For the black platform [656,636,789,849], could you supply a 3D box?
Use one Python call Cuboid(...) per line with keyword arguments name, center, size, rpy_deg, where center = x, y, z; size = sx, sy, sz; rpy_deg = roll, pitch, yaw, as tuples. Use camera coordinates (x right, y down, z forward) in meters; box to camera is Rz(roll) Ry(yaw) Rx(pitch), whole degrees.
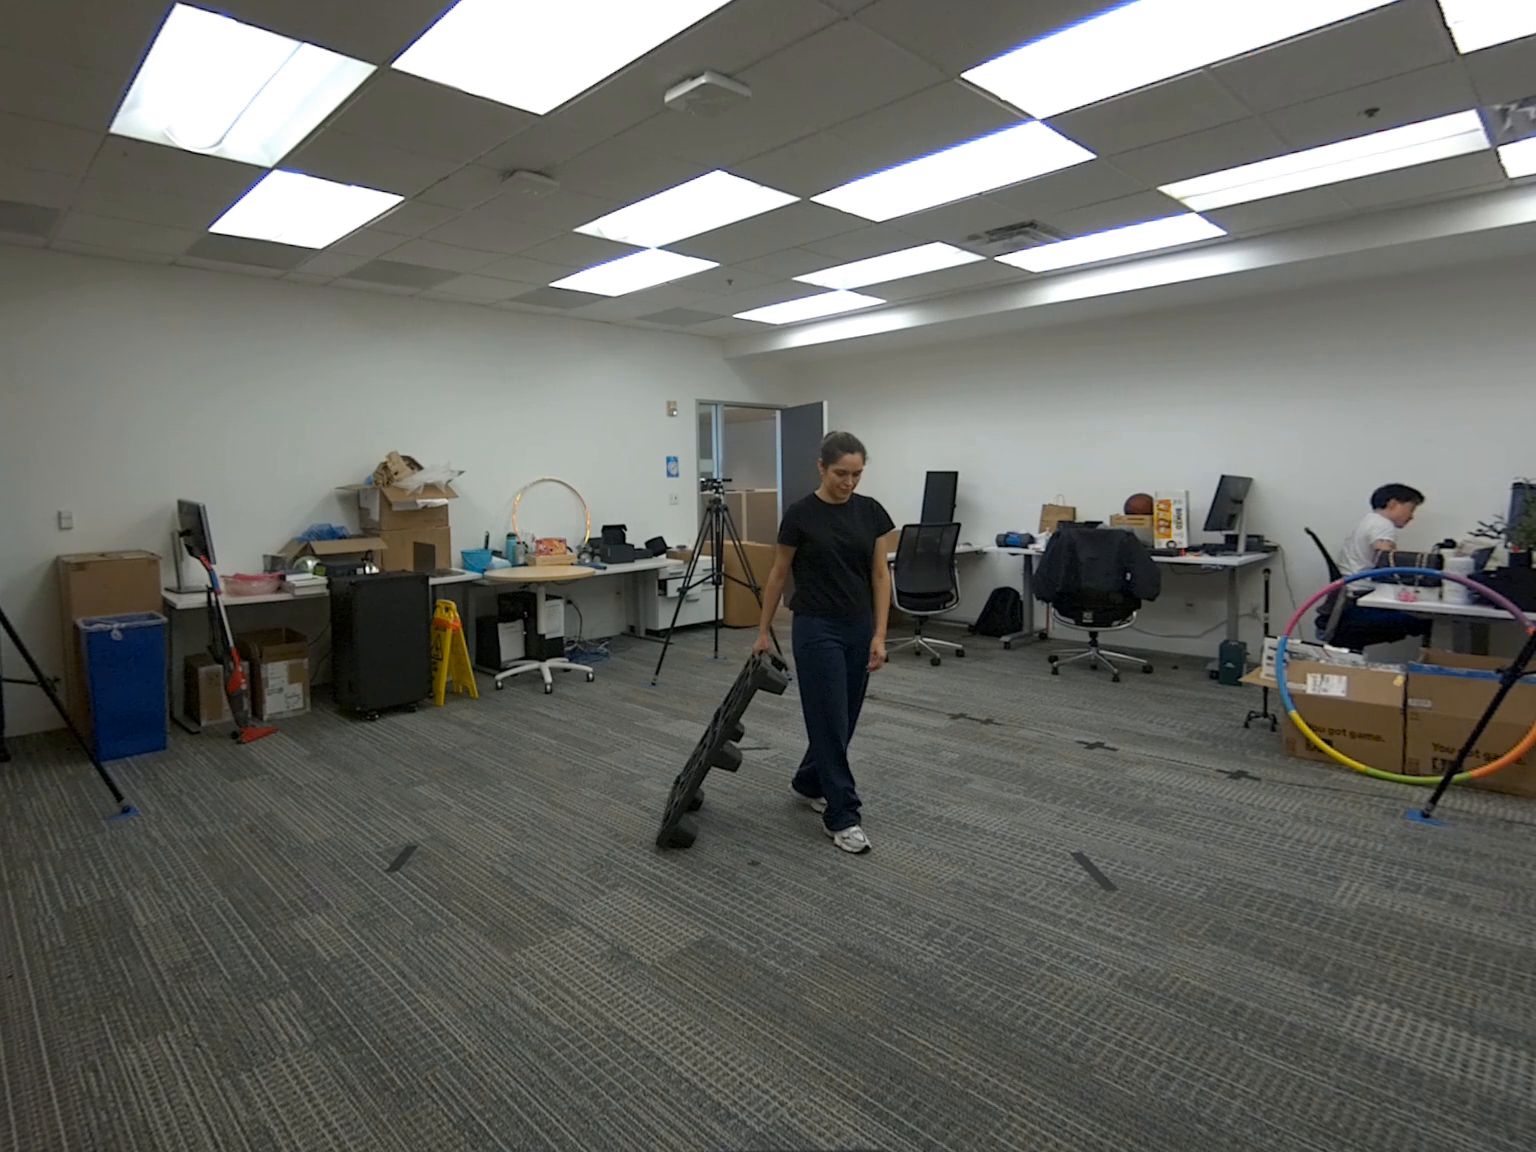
Cuboid(name="black platform", center=(-0.171, 0.656, 3.446), size=(0.143, 0.804, 0.606), rpy_deg=(29, 4, -3))
